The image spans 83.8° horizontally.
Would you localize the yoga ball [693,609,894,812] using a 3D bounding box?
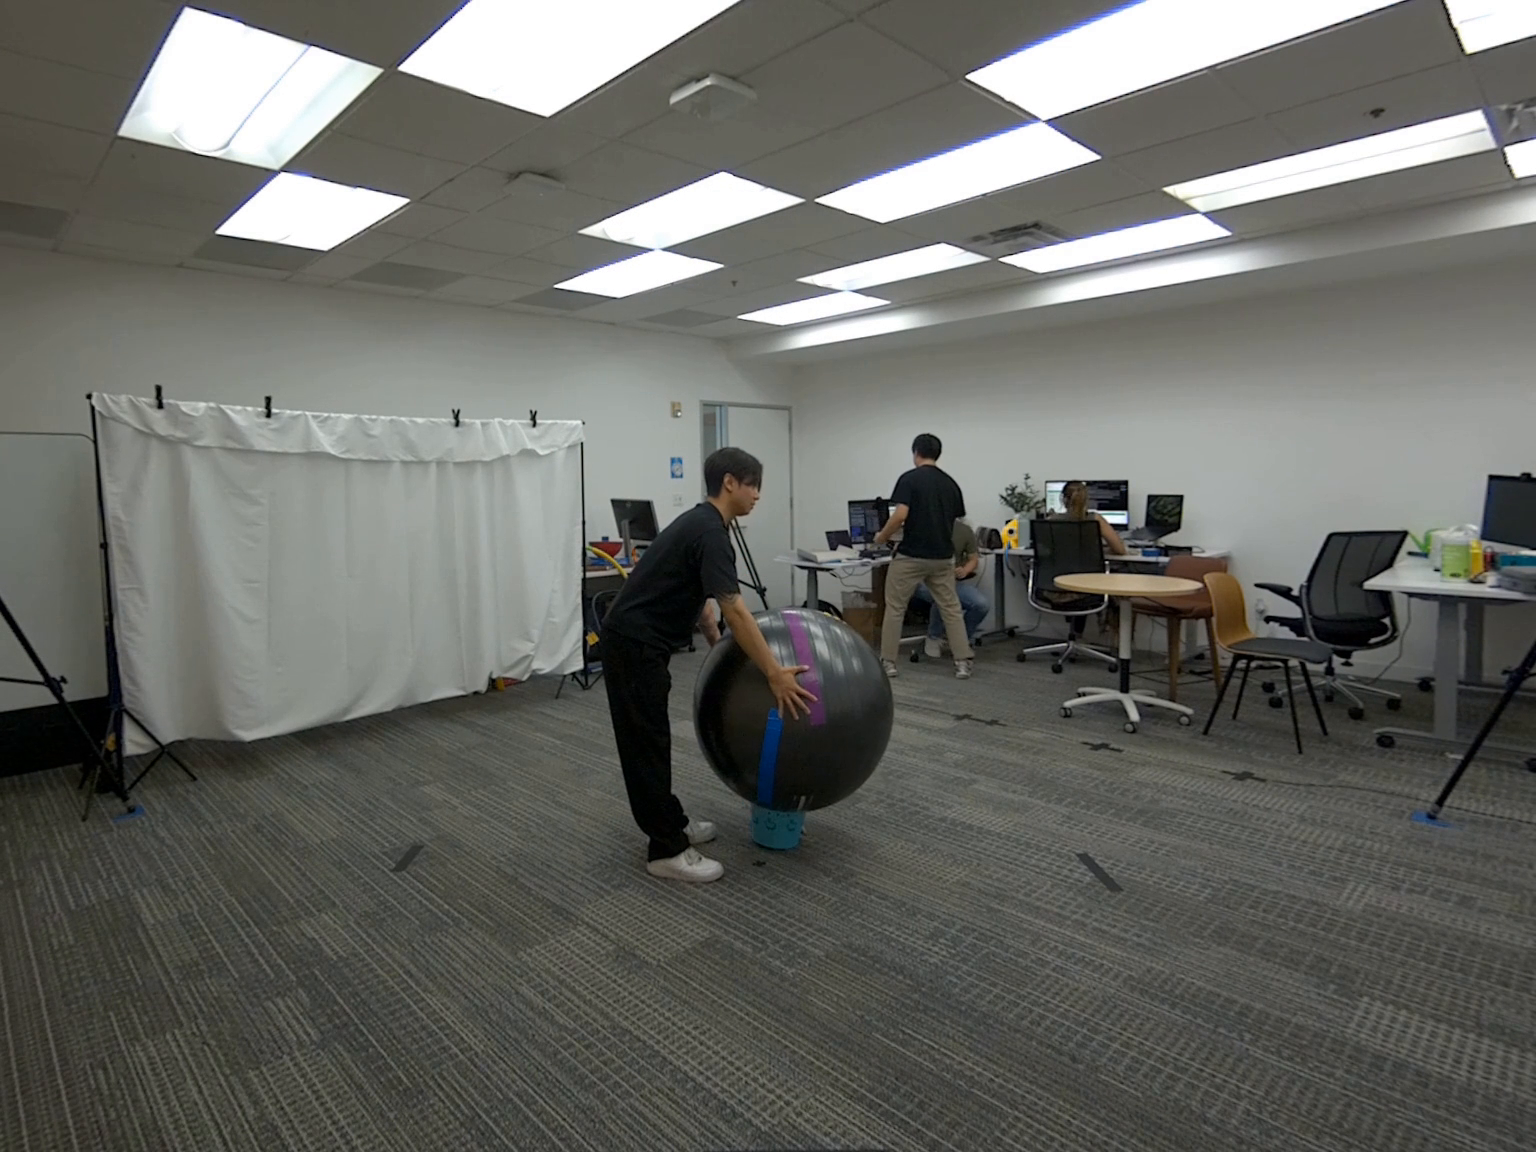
[{"bbox_3d":[0.098,0.503,3.270,0.757,0.755,0.762,-1,5,-2],"label":"yoga ball"}]
